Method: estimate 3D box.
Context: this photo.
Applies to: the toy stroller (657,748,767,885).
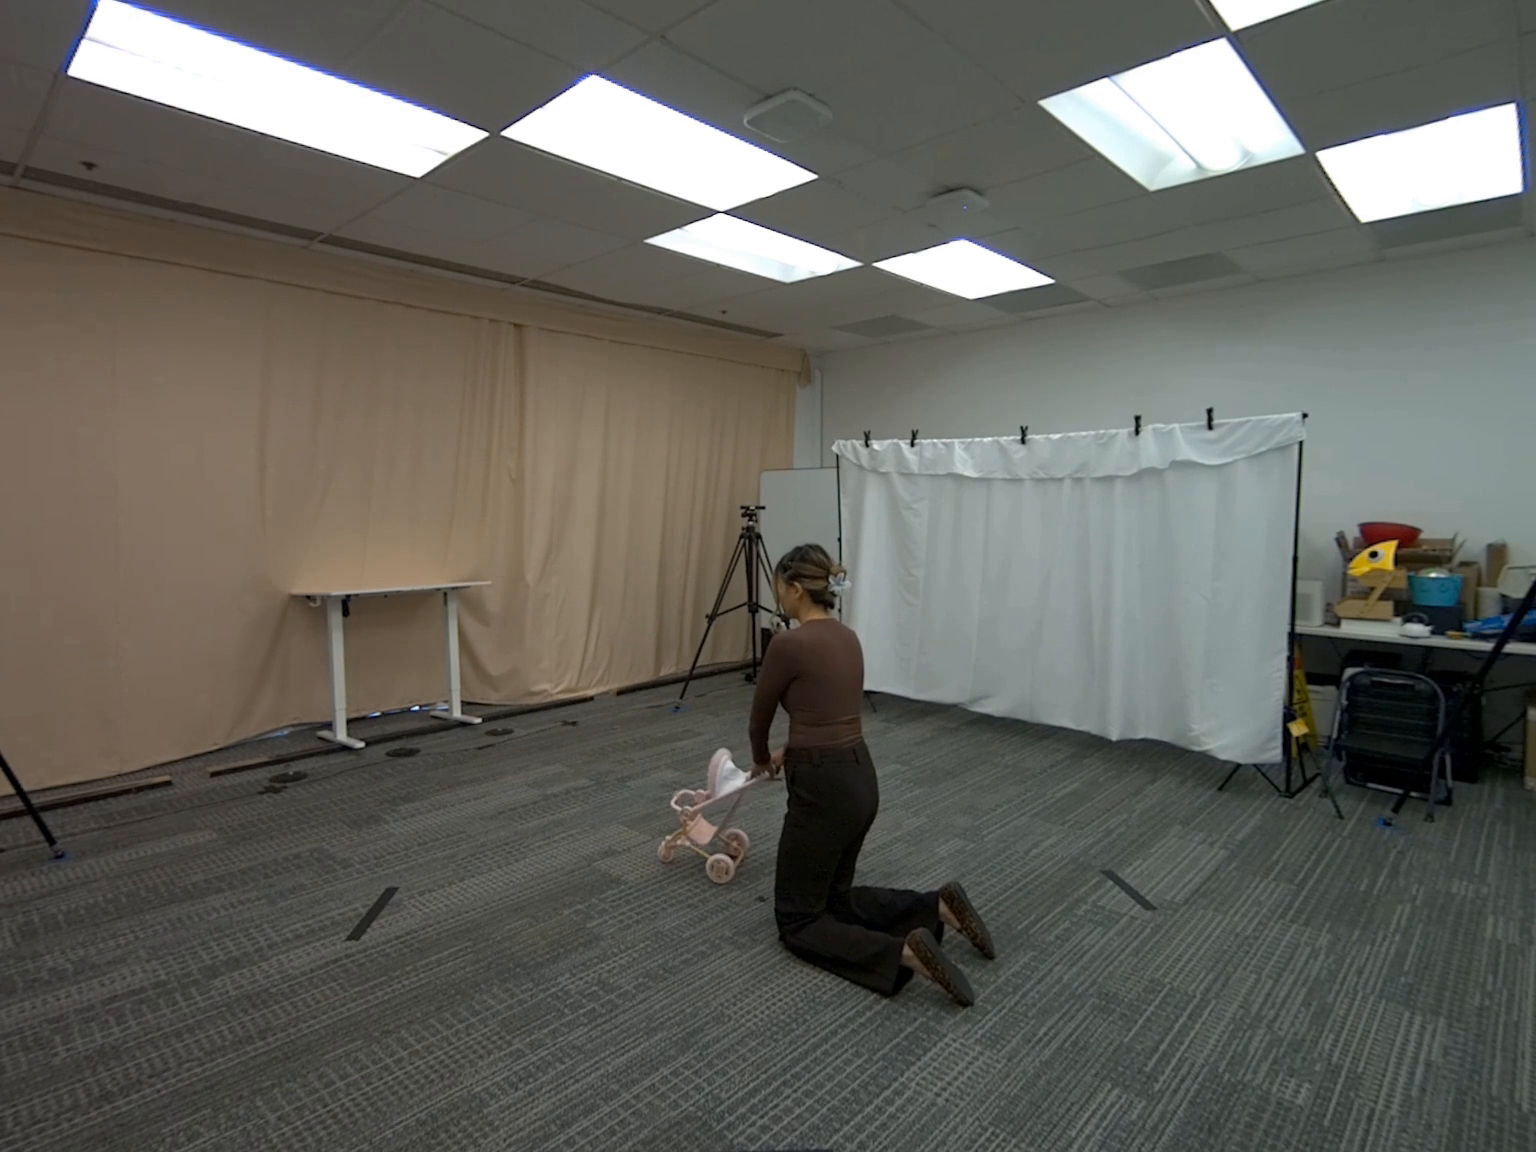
[{"bbox_3d":[-0.201,0.901,3.236,0.348,0.534,0.276,19,8,16],"label":"toy stroller"}]
